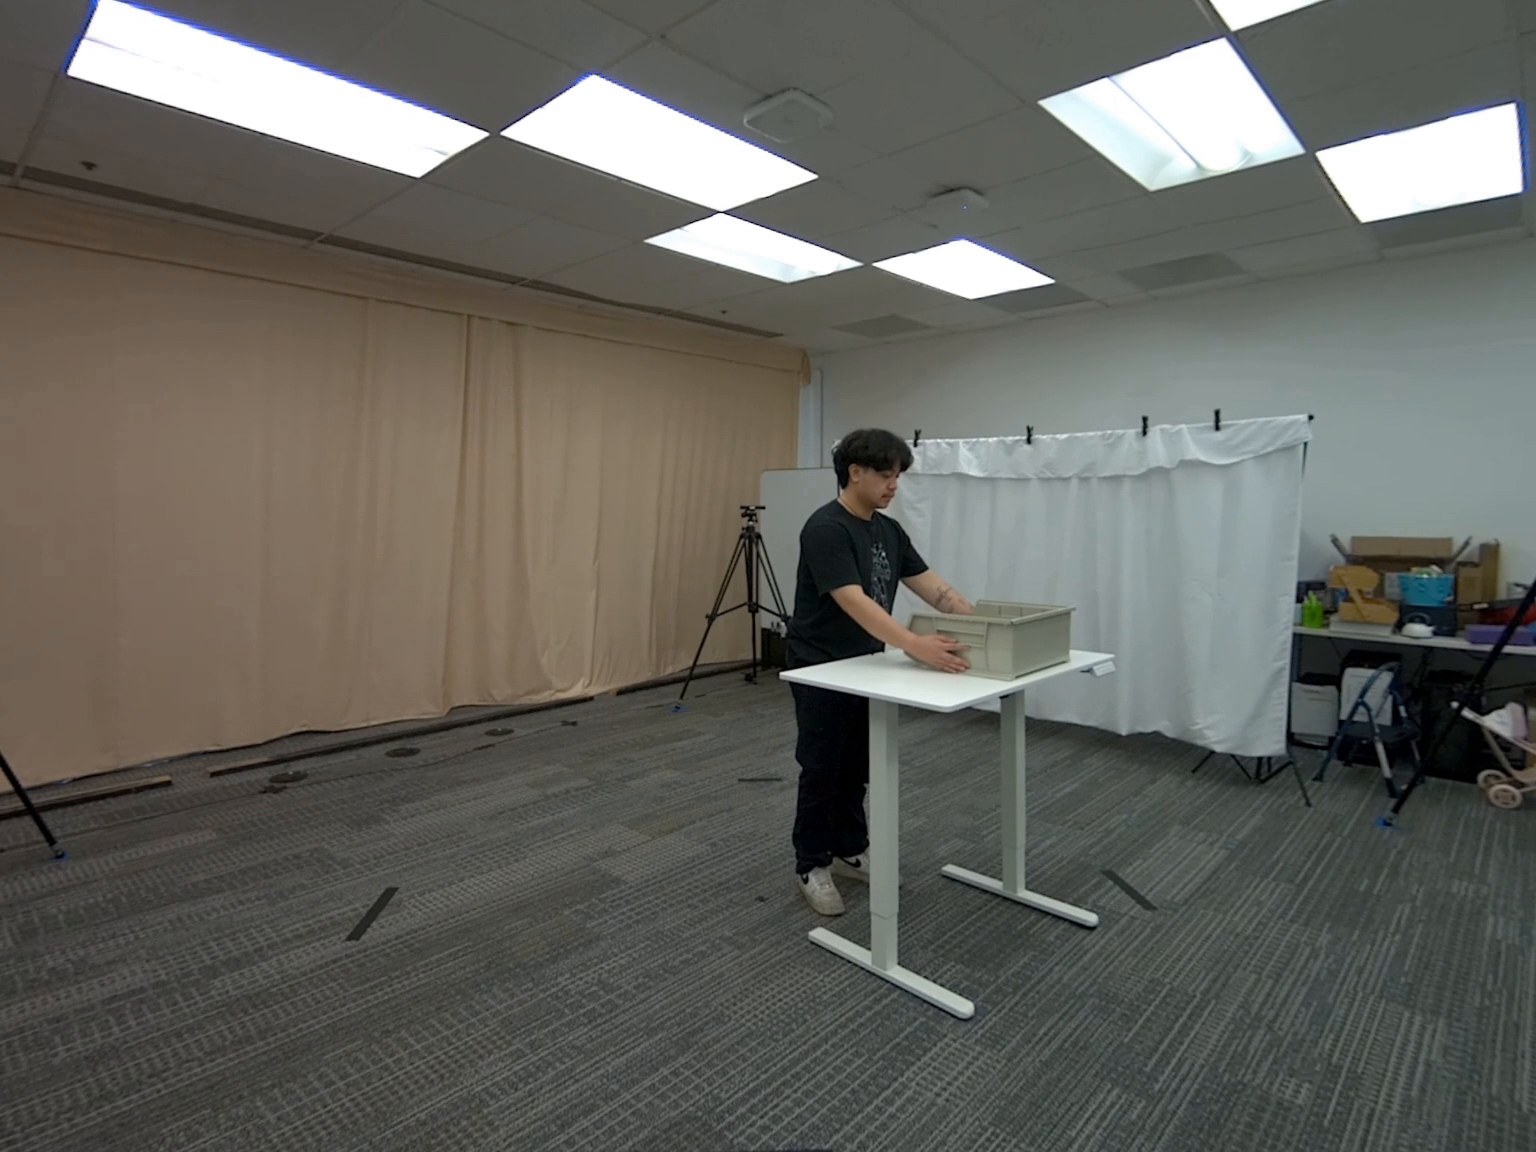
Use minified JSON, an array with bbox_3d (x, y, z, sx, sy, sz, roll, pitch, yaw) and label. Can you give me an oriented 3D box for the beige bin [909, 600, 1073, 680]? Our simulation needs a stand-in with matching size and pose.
[{"bbox_3d":[0.718,0.203,2.682,0.409,0.188,0.390,-5,7,-44],"label":"beige bin"}]
